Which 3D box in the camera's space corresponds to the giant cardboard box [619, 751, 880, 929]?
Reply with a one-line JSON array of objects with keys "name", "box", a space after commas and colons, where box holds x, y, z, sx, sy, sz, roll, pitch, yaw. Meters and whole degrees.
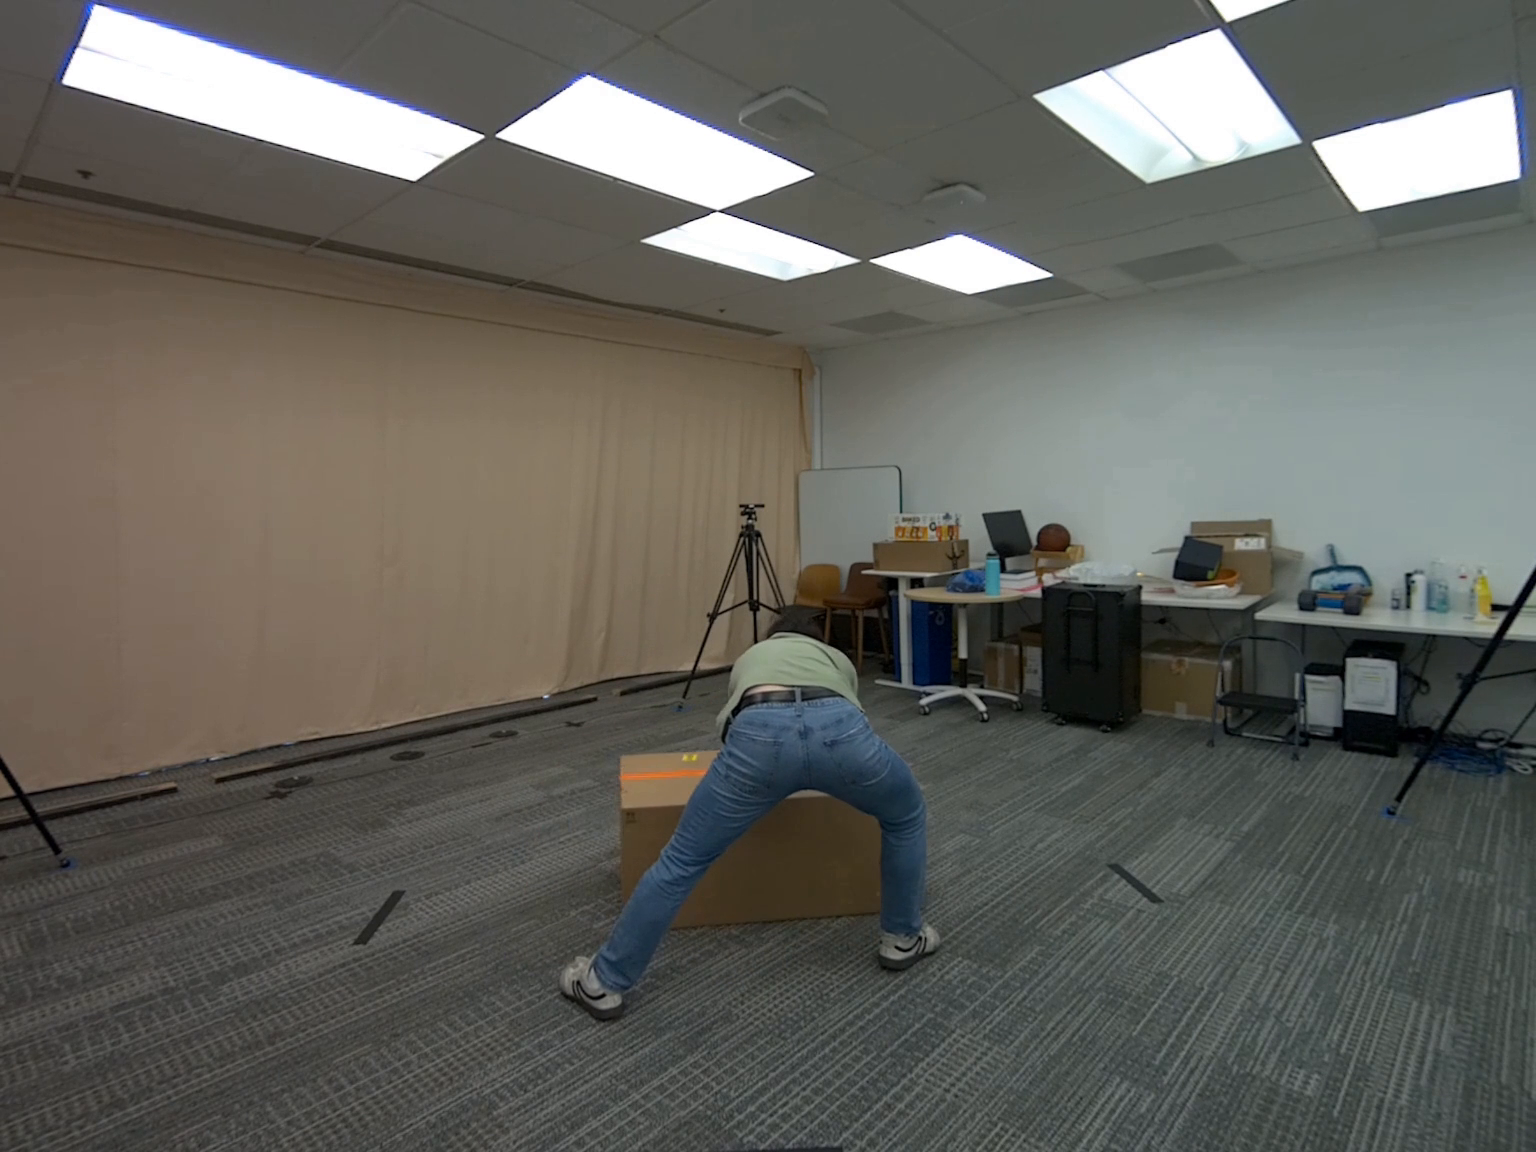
[{"name": "giant cardboard box", "box": [-0.024, 0.914, 3.079, 1.018, 0.425, 0.583, -2, 4, -7]}]
